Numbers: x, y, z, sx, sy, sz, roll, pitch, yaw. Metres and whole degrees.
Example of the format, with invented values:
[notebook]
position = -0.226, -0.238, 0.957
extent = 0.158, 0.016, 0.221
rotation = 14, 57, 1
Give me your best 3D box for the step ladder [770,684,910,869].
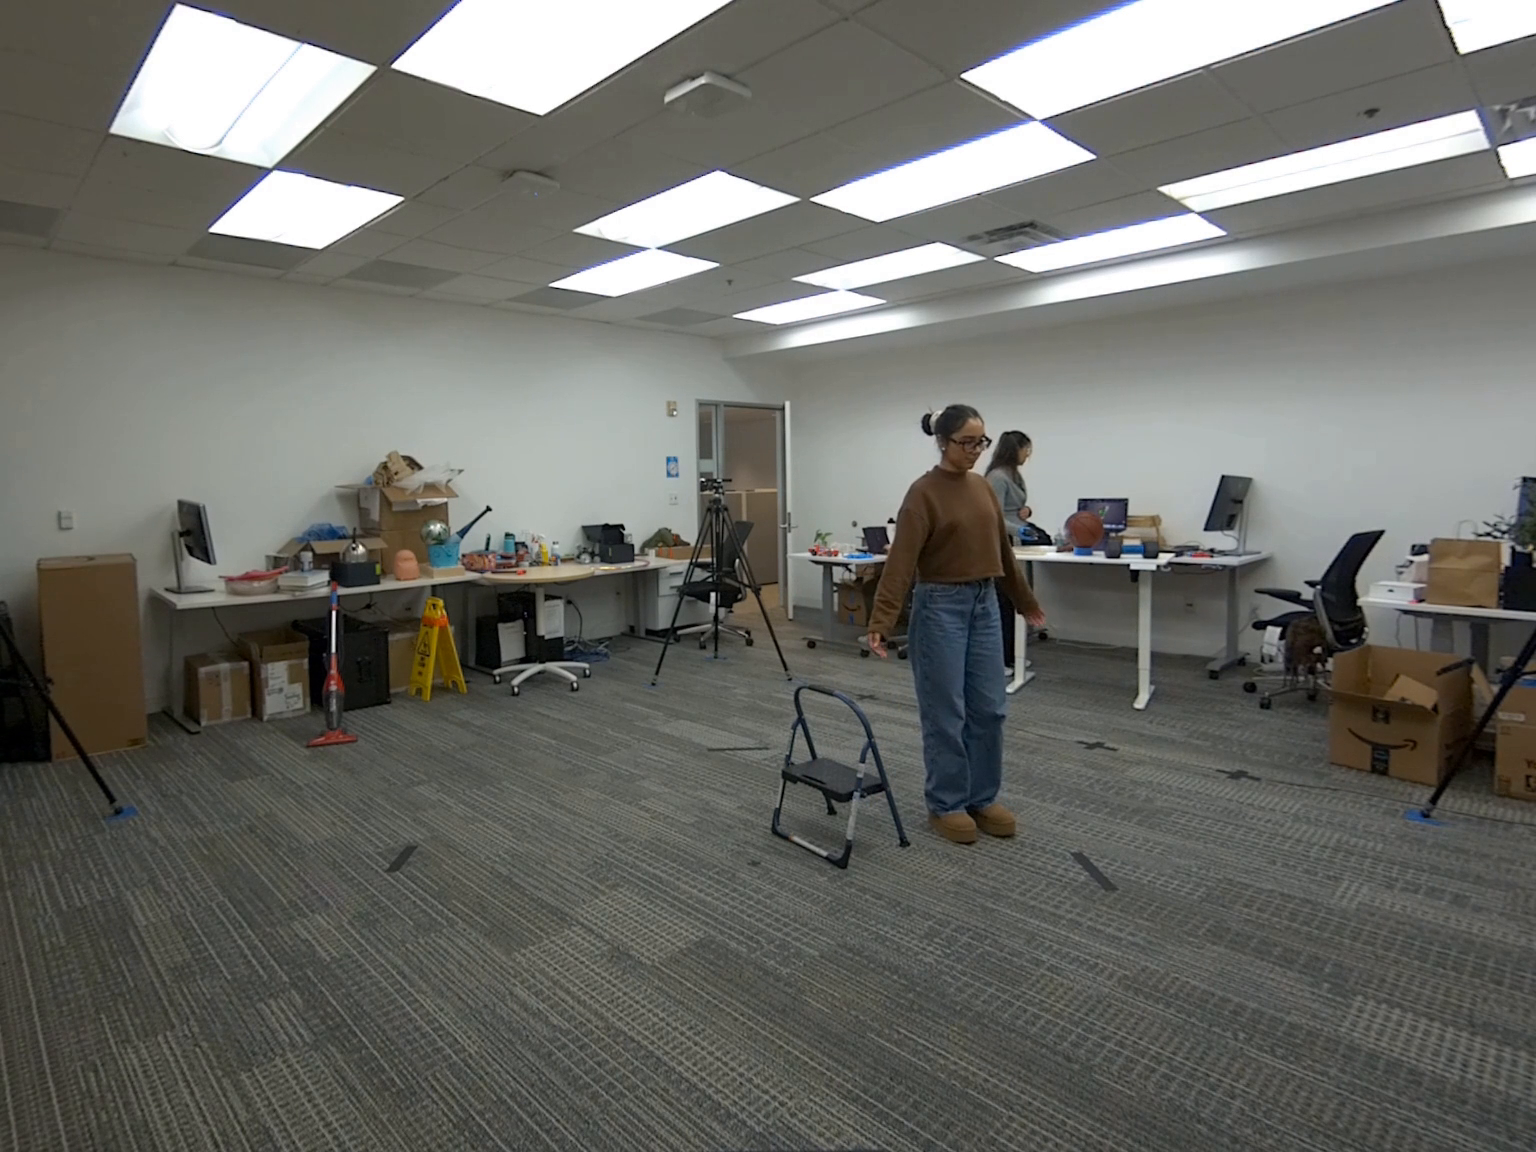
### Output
[step ladder]
position = 0.271, 0.715, 3.288
extent = 0.340, 0.604, 0.444
rotation = -4, 6, -39
